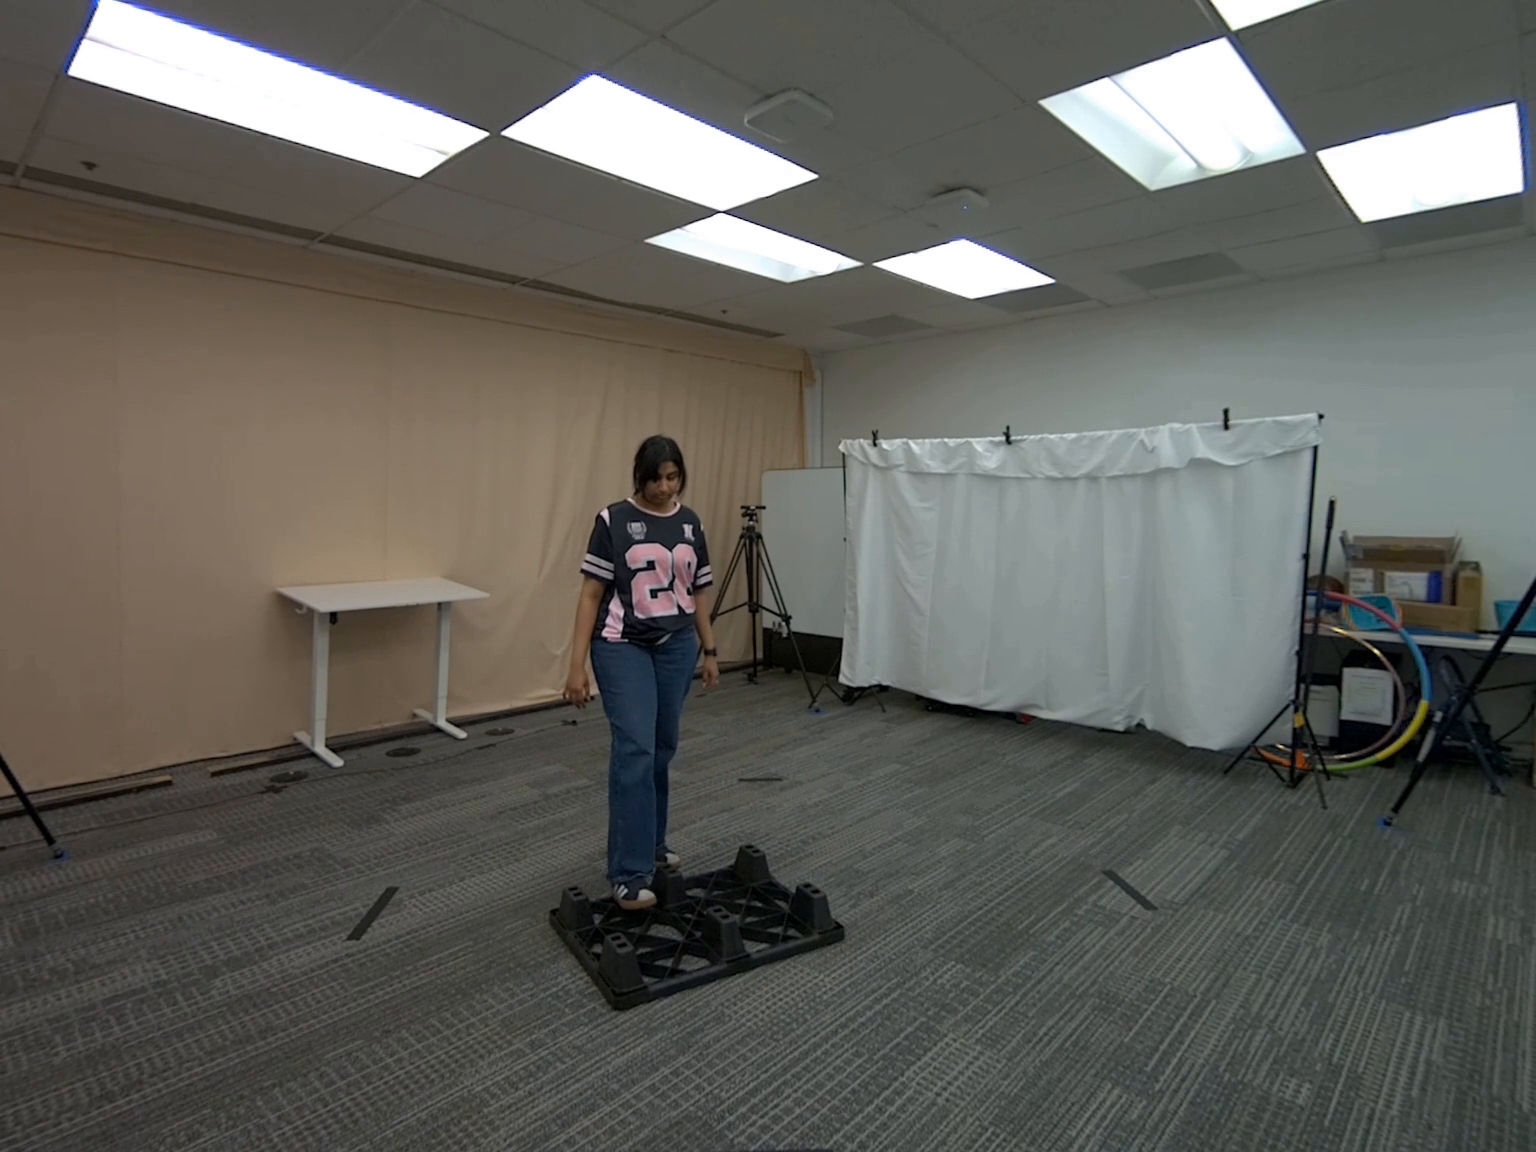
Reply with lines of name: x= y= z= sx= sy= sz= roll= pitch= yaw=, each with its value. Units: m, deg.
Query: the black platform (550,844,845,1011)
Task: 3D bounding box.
black platform: x=-0.237 y=1.097 z=2.766 sx=0.784 sy=0.143 sz=0.623 roll=-3 pitch=6 yaw=-31
